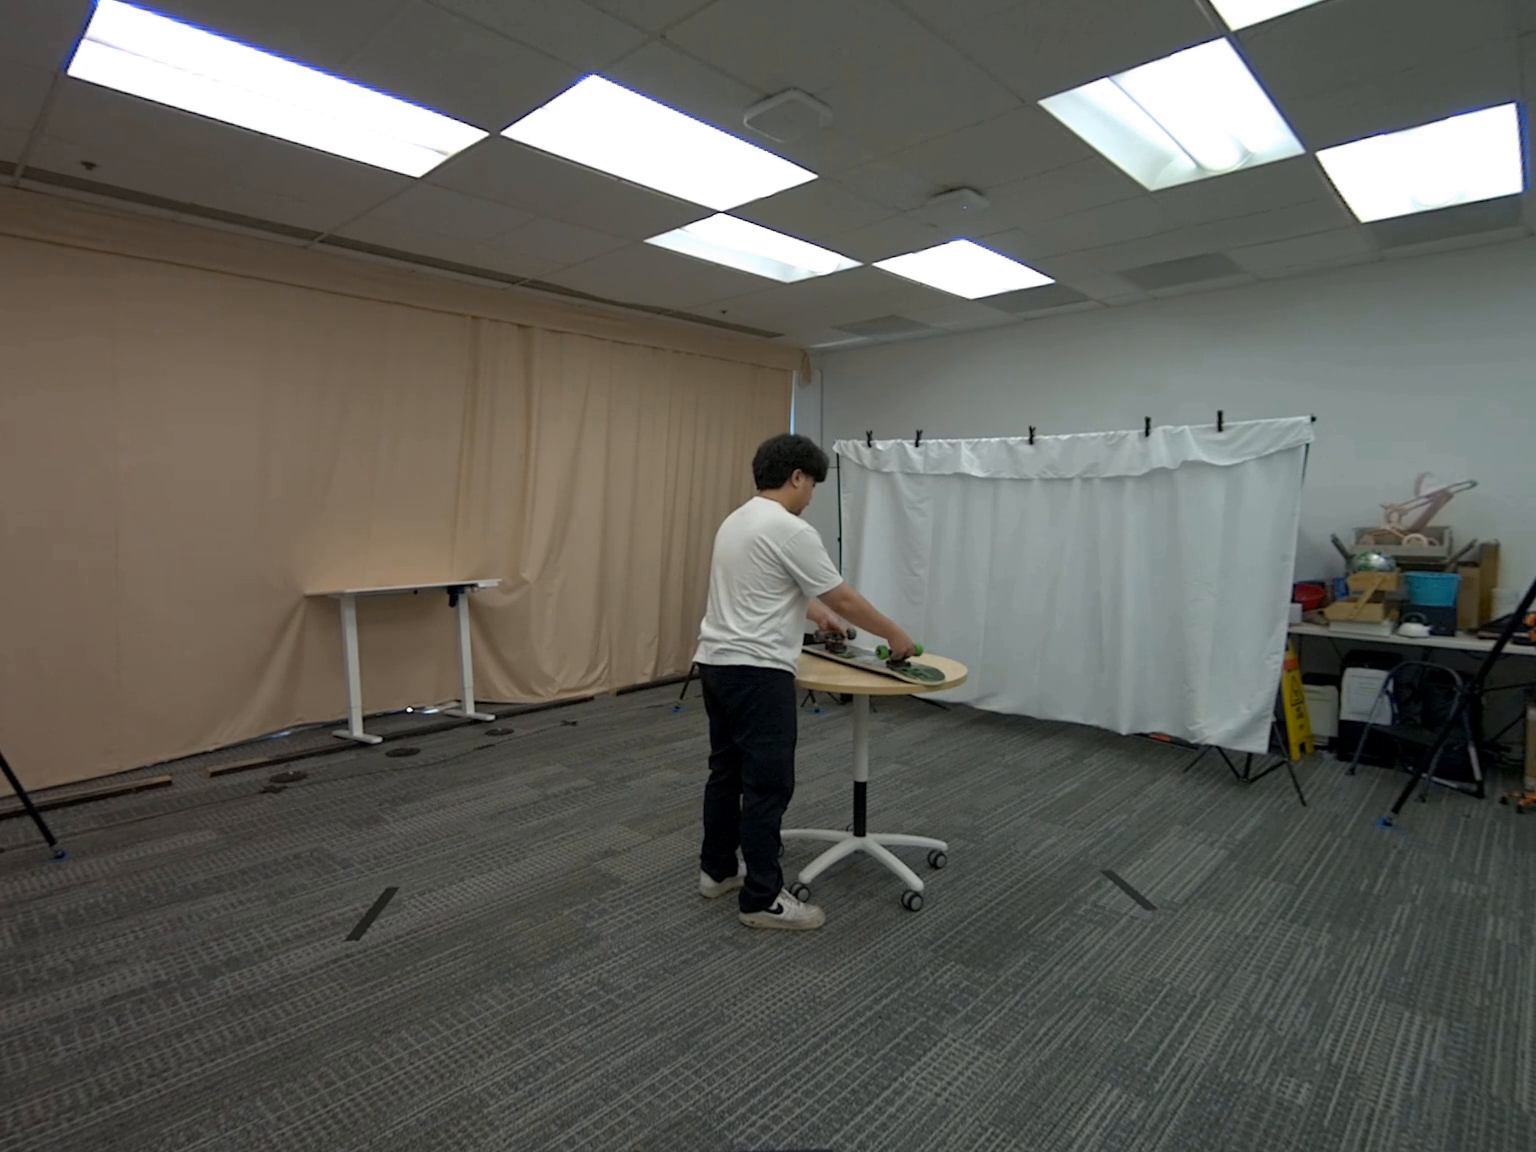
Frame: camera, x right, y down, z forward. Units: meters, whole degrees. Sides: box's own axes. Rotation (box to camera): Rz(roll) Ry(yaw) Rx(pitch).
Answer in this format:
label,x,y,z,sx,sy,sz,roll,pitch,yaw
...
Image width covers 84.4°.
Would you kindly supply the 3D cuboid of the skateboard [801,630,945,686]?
label,x,y,z,sx,sy,sz,roll,pitch,yaw
skateboard,0.375,0.284,3.166,0.188,0.110,0.808,0,4,-29
